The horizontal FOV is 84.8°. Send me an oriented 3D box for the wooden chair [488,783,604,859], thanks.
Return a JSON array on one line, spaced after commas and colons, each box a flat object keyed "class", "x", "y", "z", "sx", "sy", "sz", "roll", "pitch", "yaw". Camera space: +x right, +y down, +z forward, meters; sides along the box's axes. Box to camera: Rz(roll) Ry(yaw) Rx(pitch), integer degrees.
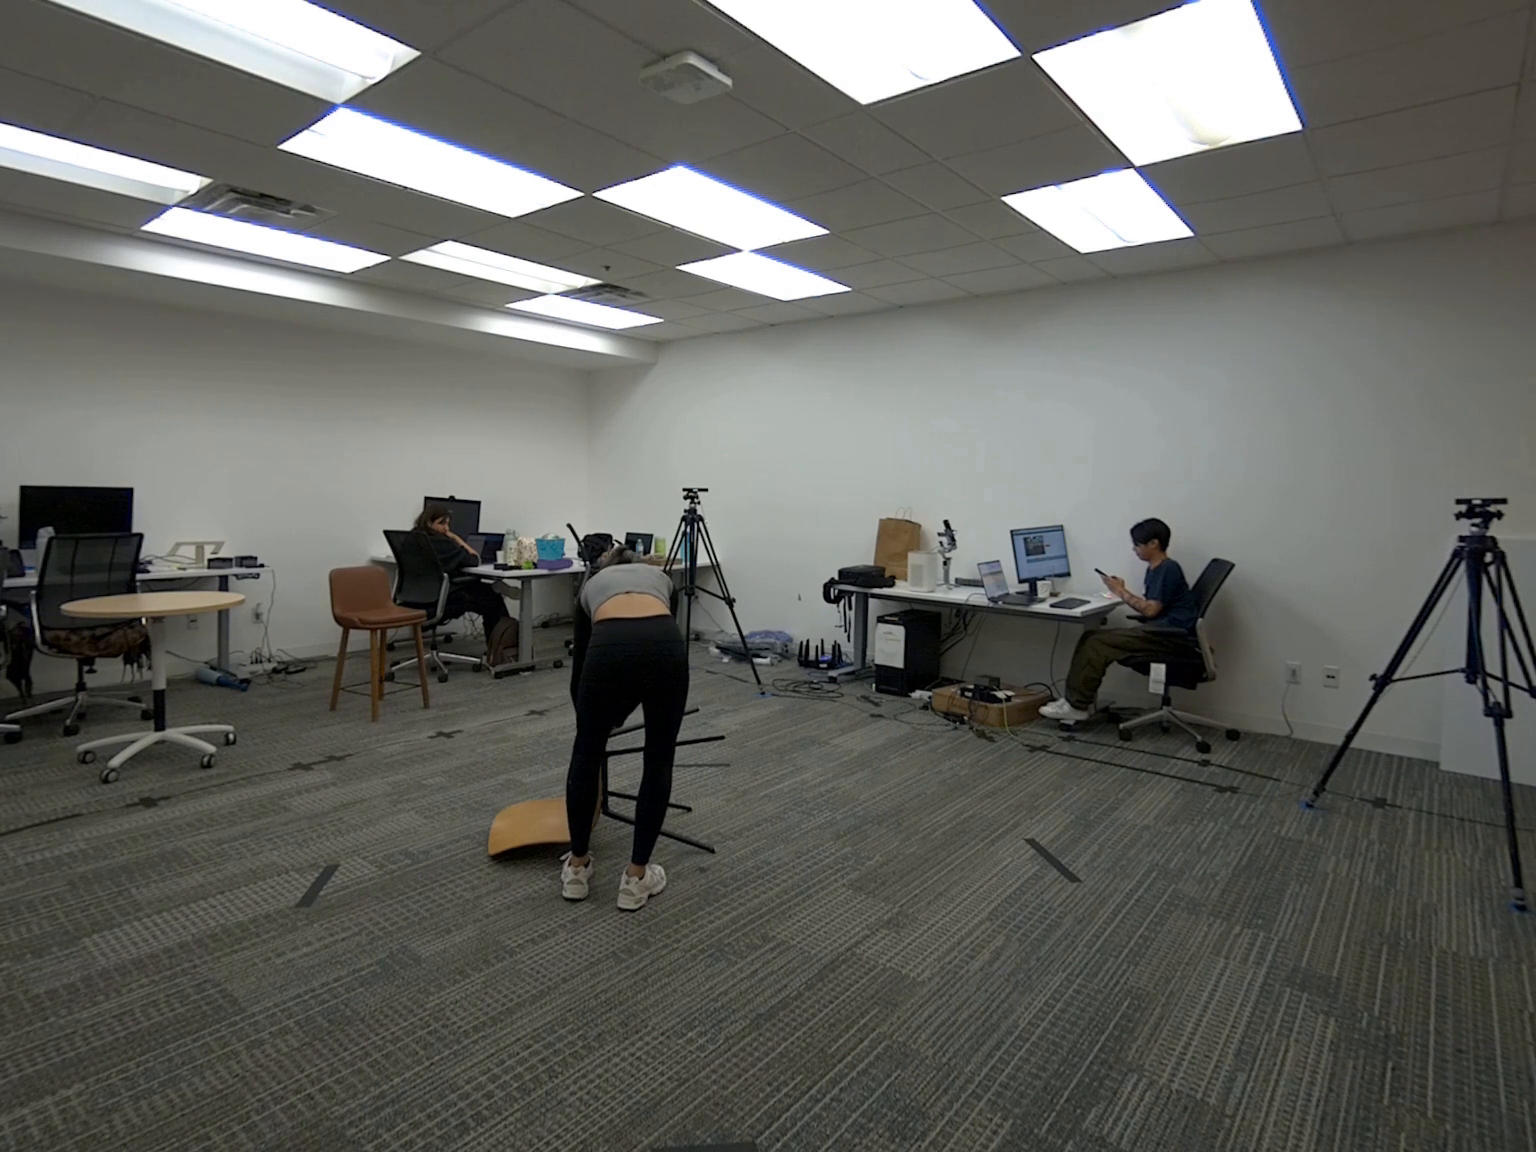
[{"class": "wooden chair", "x": -0.665, "y": 0.776, "z": 3.358, "sx": 0.865, "sy": 0.521, "sz": 0.487, "roll": -1, "pitch": 4, "yaw": -14}]
